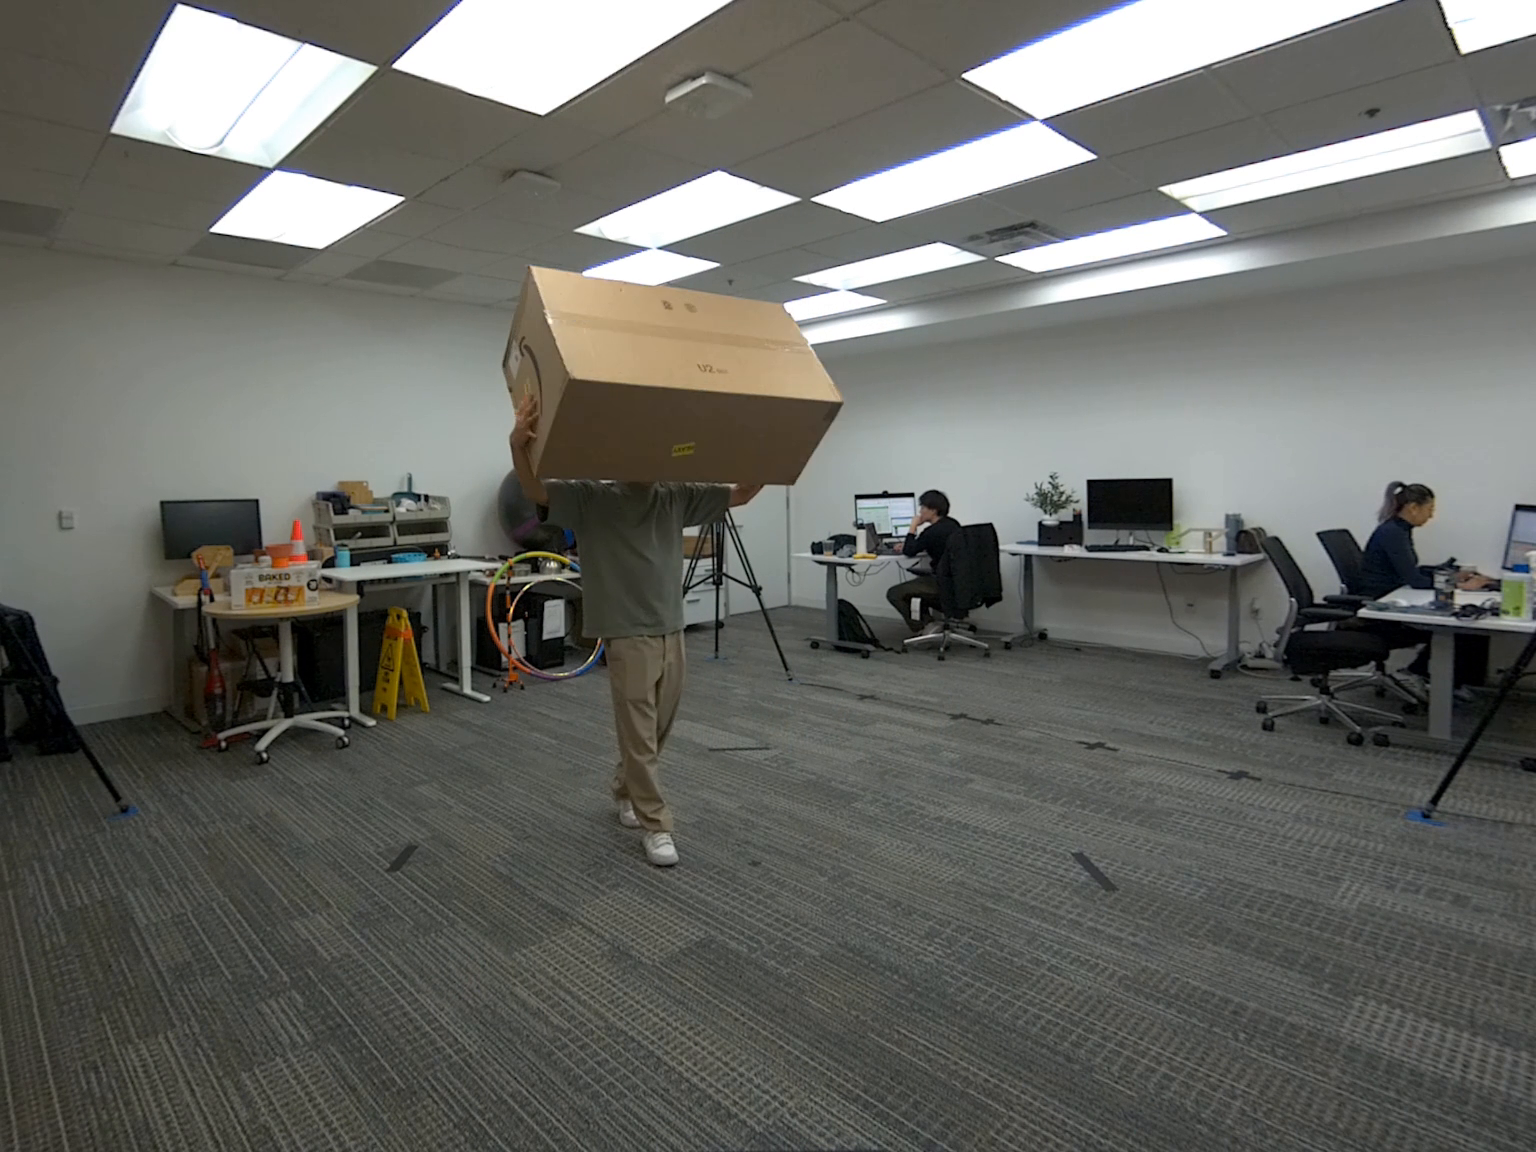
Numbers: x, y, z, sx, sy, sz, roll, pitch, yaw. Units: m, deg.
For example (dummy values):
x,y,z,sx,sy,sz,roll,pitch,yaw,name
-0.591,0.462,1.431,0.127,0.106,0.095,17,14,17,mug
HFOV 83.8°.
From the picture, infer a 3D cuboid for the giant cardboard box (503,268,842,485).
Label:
x,y,z,sx,sy,sz,roll,pitch,yaw,name
-0.343,-0.668,3.033,1.000,0.598,0.422,-2,-40,-31,giant cardboard box
